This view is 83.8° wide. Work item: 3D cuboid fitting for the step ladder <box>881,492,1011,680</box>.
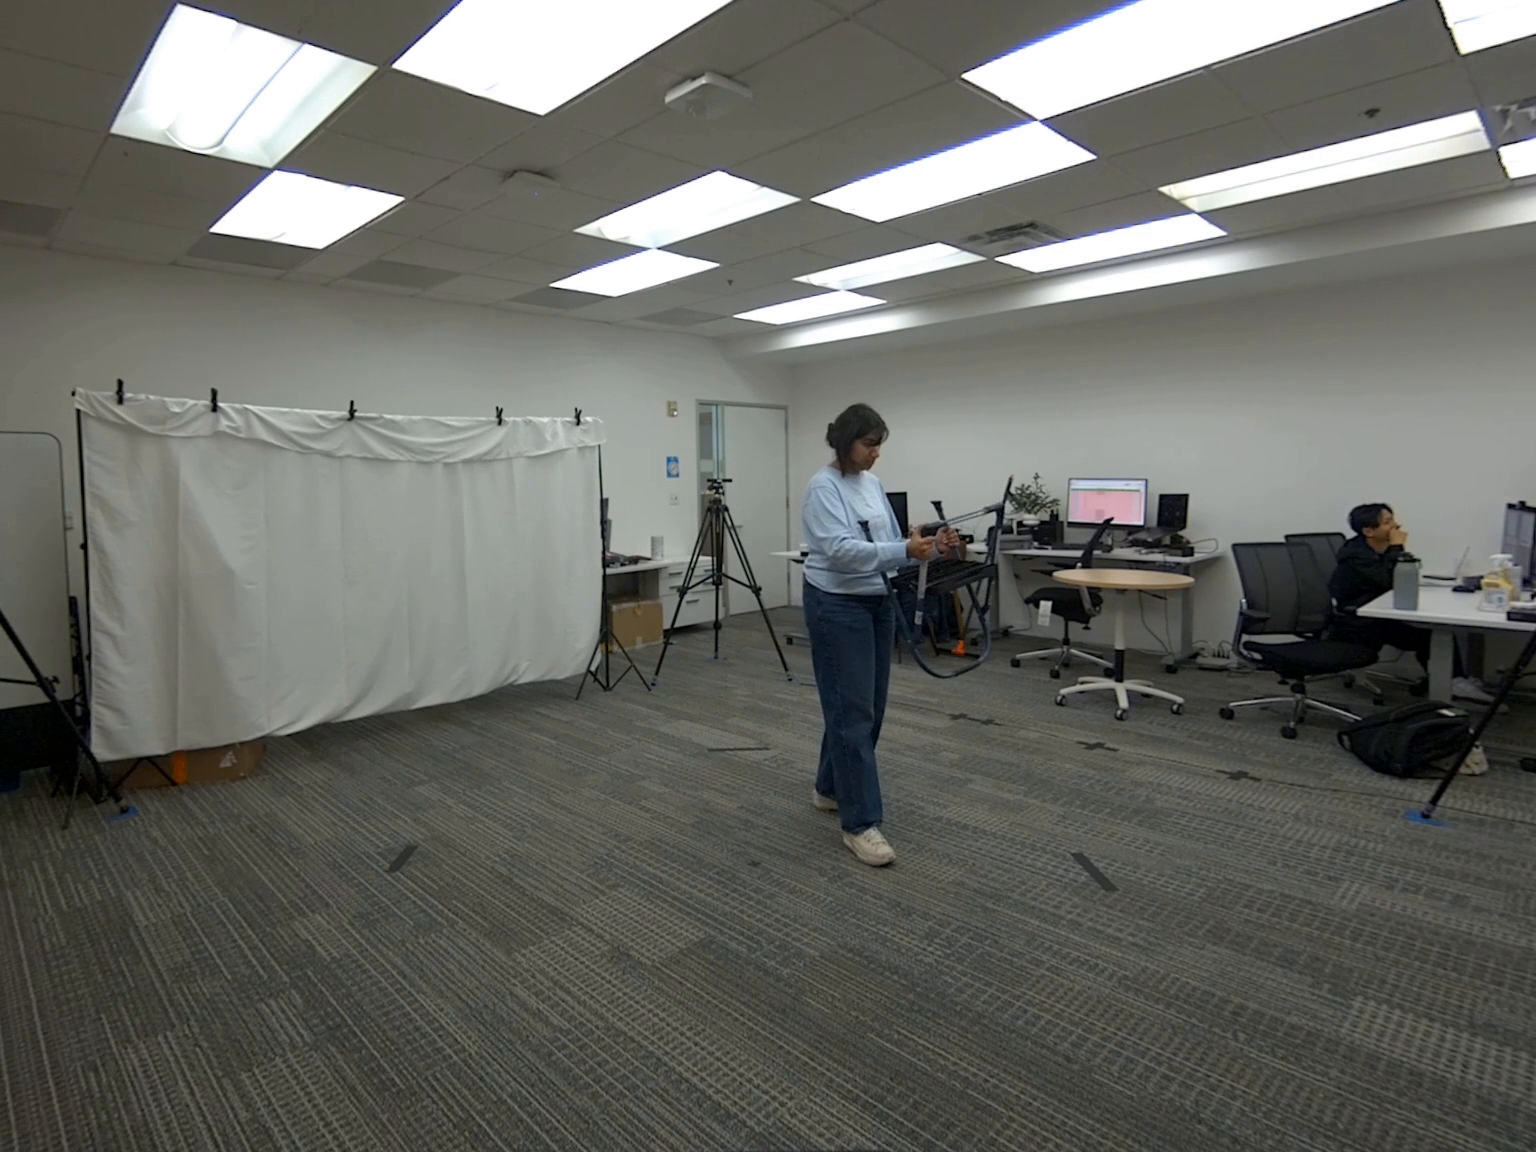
[{"bbox_3d":[0.638,0.059,3.194,0.422,0.600,0.359,-16,12,-33],"label":"step ladder"}]
